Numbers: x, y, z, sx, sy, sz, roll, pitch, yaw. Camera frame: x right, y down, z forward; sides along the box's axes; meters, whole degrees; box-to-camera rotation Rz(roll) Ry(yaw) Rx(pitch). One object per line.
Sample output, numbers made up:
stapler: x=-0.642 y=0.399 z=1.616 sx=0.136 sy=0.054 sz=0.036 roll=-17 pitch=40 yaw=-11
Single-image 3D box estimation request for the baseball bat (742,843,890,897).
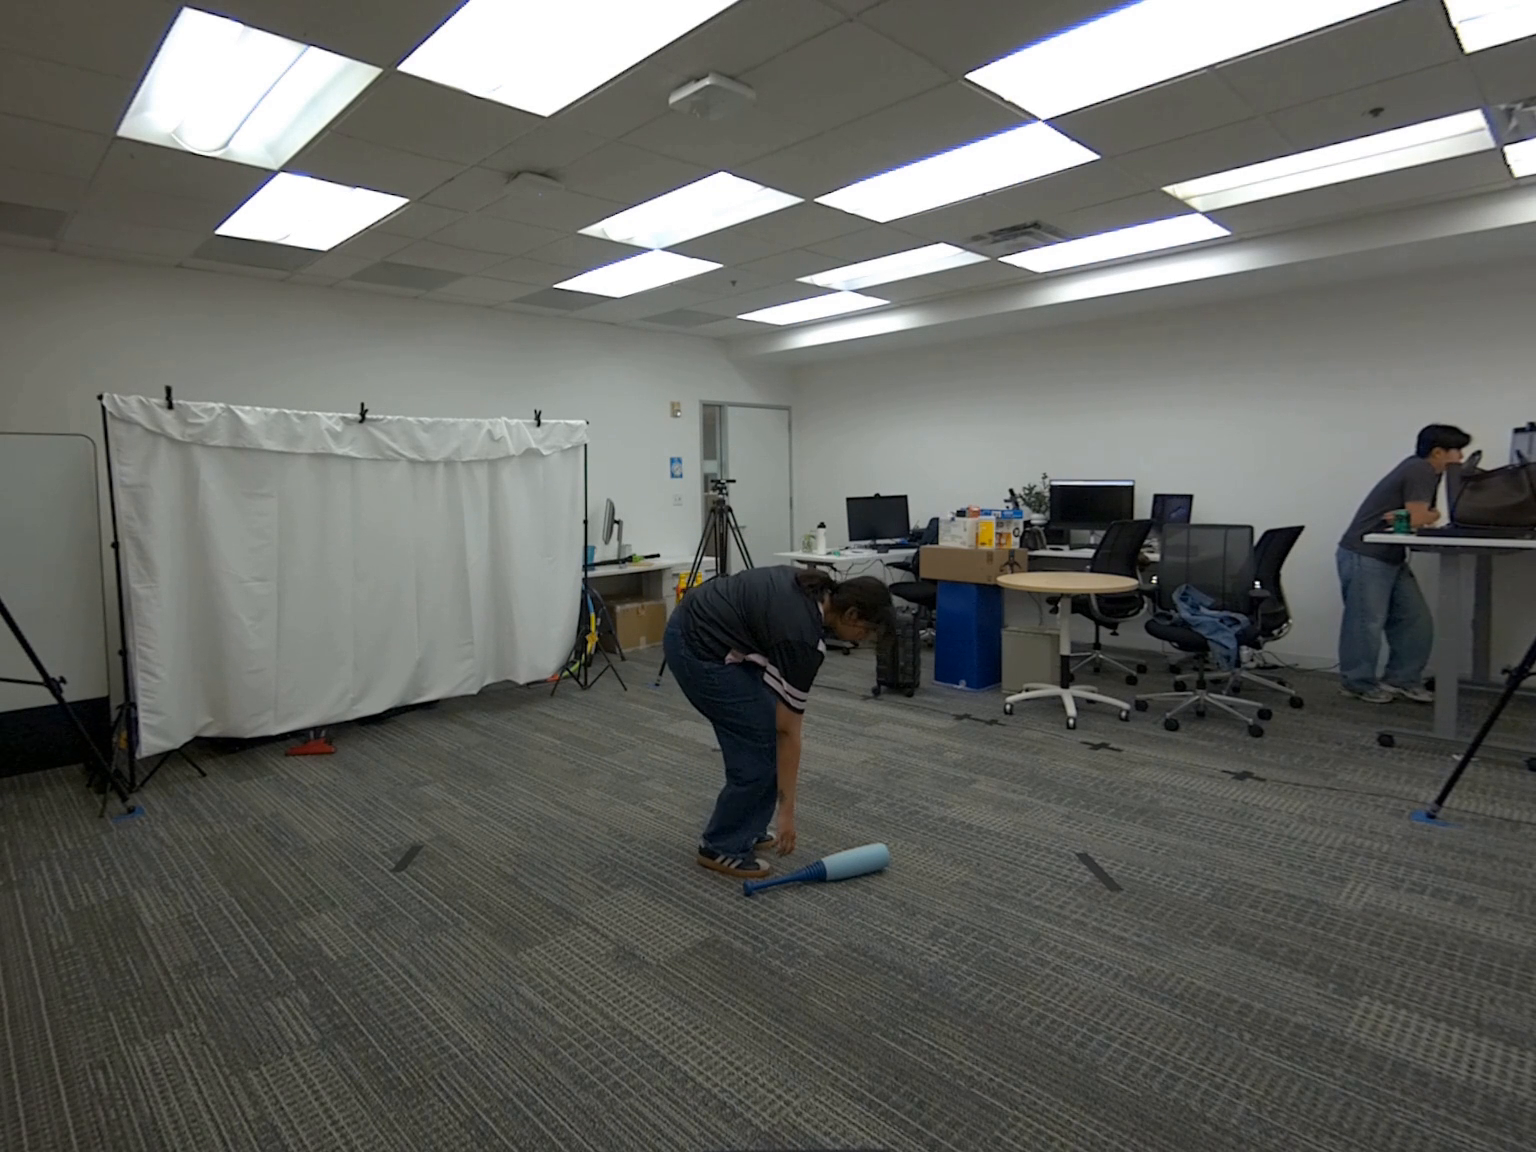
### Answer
baseball bat: x=0.169 y=1.021 z=2.962 sx=0.534 sy=0.088 sz=0.091 roll=-7 pitch=7 yaw=-19
